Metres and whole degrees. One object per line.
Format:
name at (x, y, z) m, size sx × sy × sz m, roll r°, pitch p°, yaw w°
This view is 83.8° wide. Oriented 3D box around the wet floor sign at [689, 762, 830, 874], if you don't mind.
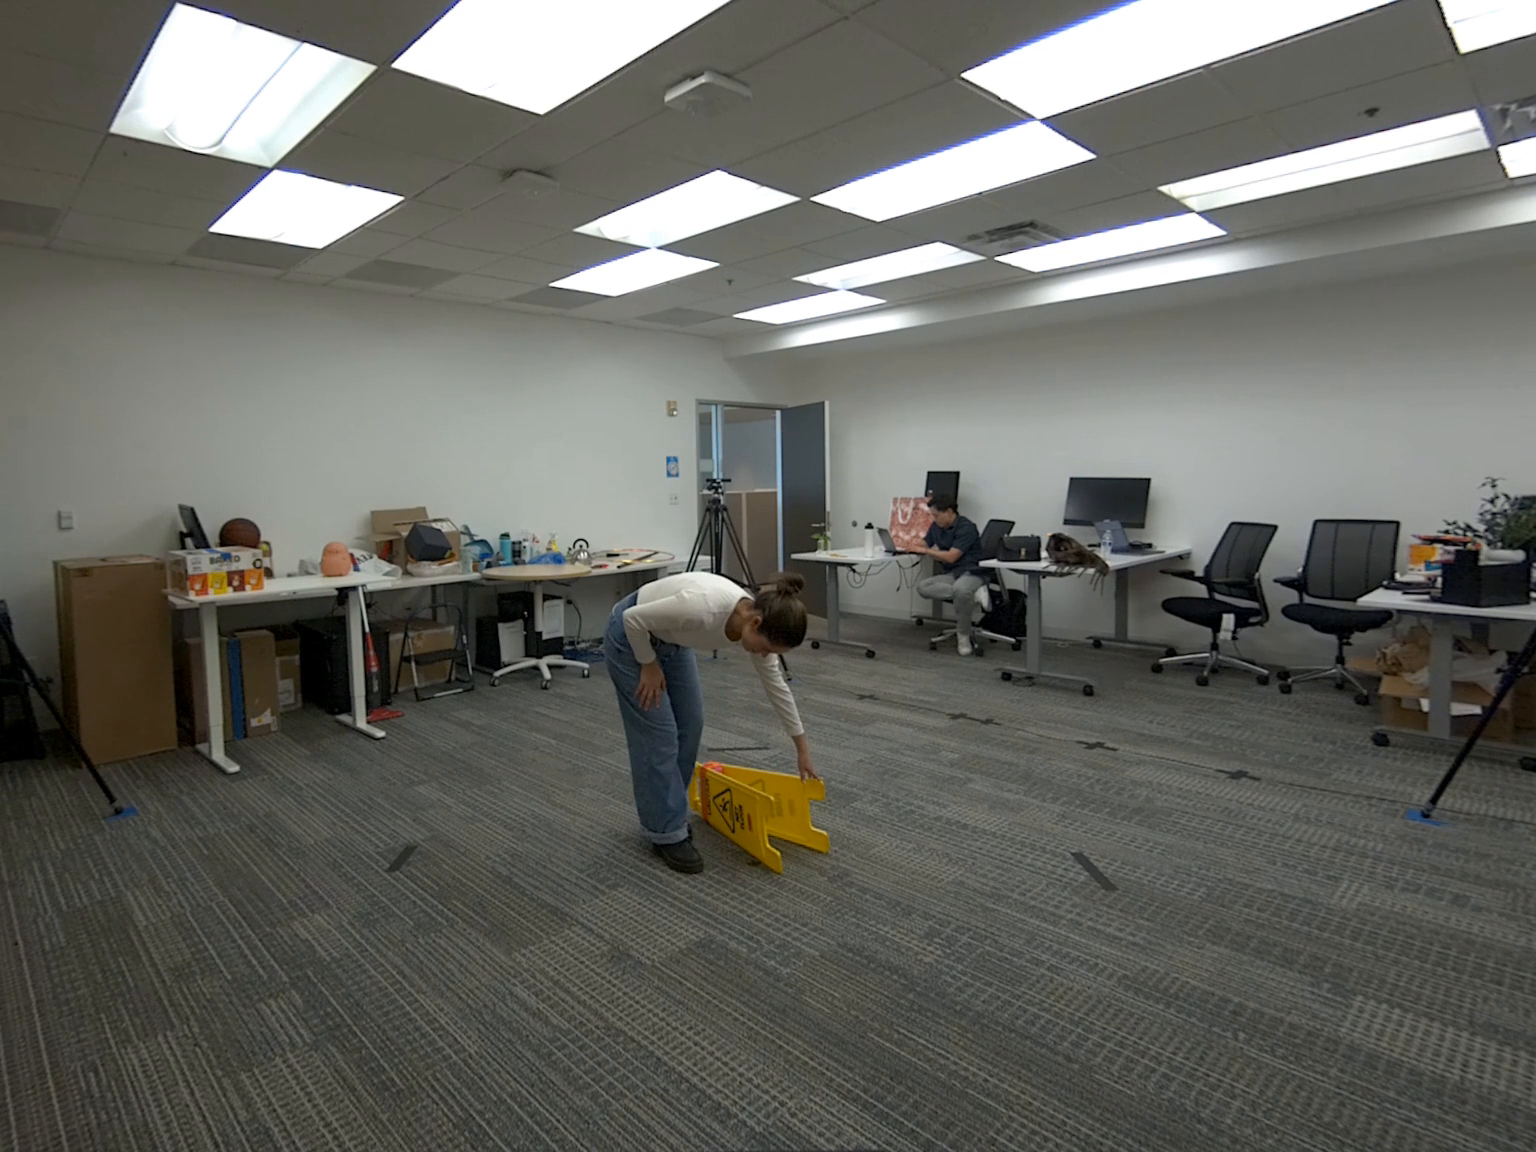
wet floor sign at (-0.101, 0.889, 3.329) m, size 0.282 × 0.281 × 0.665 m, roll -7°, pitch 7°, yaw -42°
